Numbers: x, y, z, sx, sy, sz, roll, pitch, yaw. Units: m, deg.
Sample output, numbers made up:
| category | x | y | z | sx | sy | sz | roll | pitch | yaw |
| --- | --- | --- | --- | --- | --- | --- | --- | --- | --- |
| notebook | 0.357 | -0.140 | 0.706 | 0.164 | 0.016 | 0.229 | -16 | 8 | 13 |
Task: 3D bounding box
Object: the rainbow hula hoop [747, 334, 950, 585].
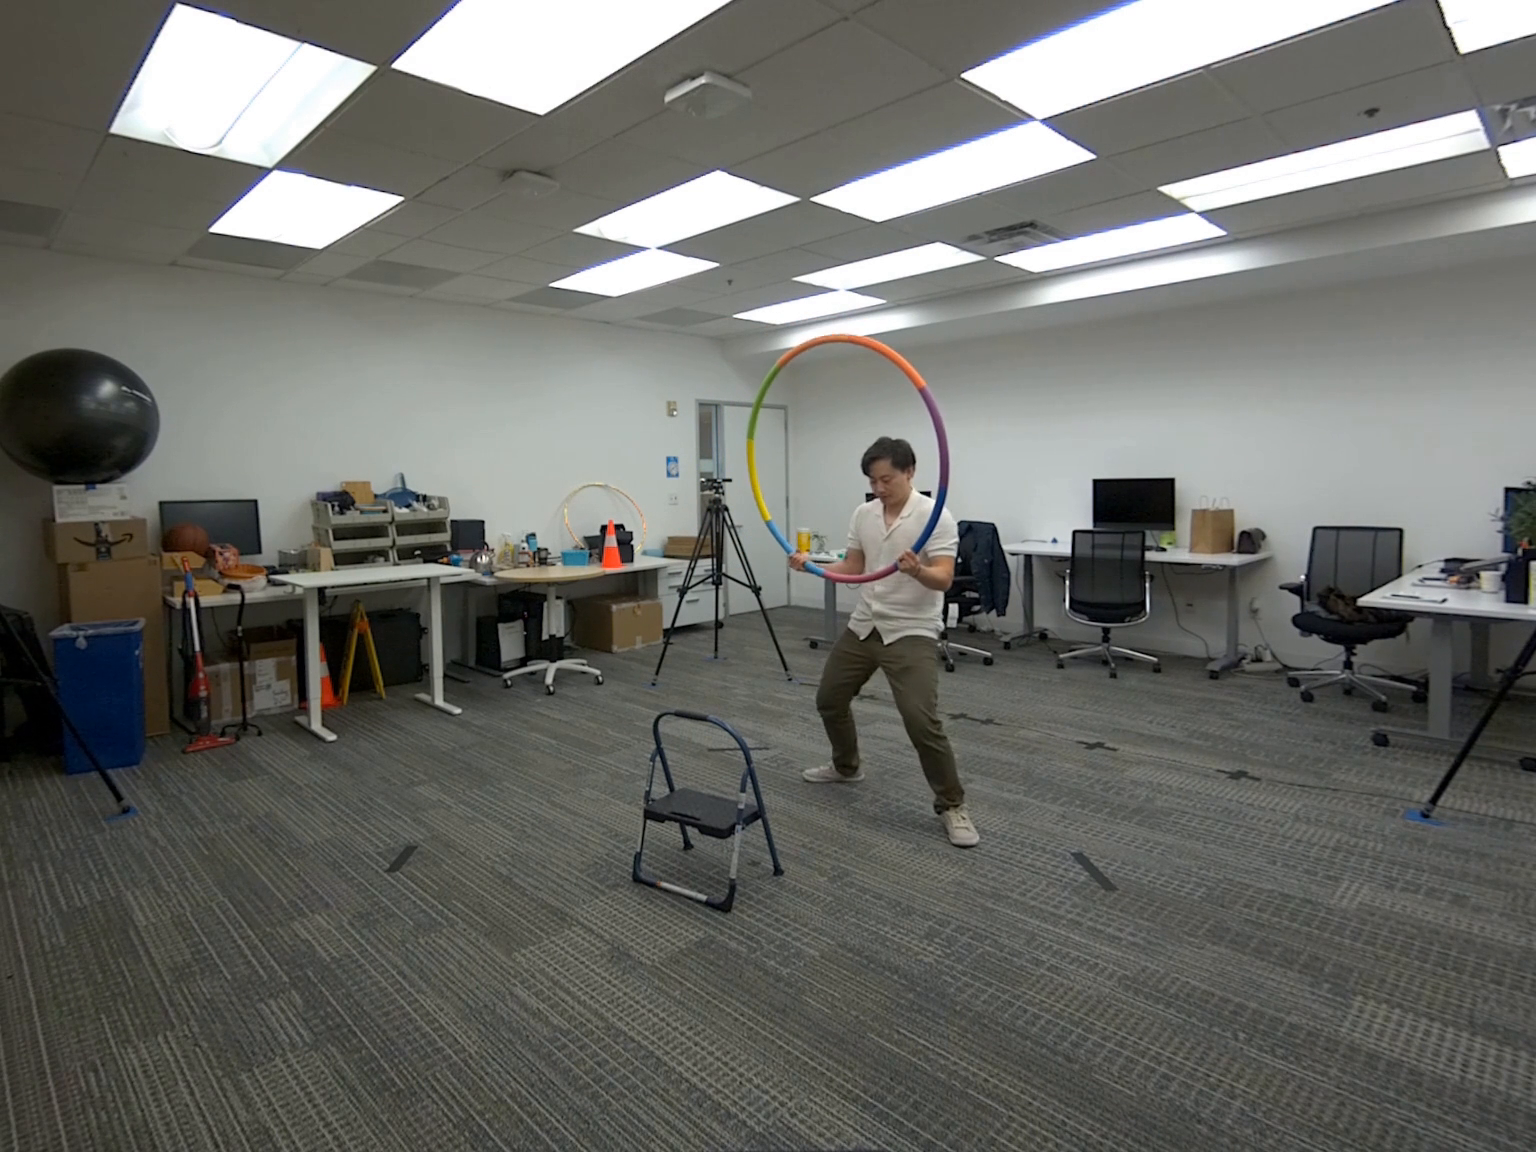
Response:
| category | x | y | z | sx | sy | sz | roll | pitch | yaw |
| --- | --- | --- | --- | --- | --- | --- | --- | --- | --- |
| rainbow hula hoop | 0.282 | -0.463 | 3.392 | 1.009 | 0.969 | 0.035 | 4 | 13 | 45 |
